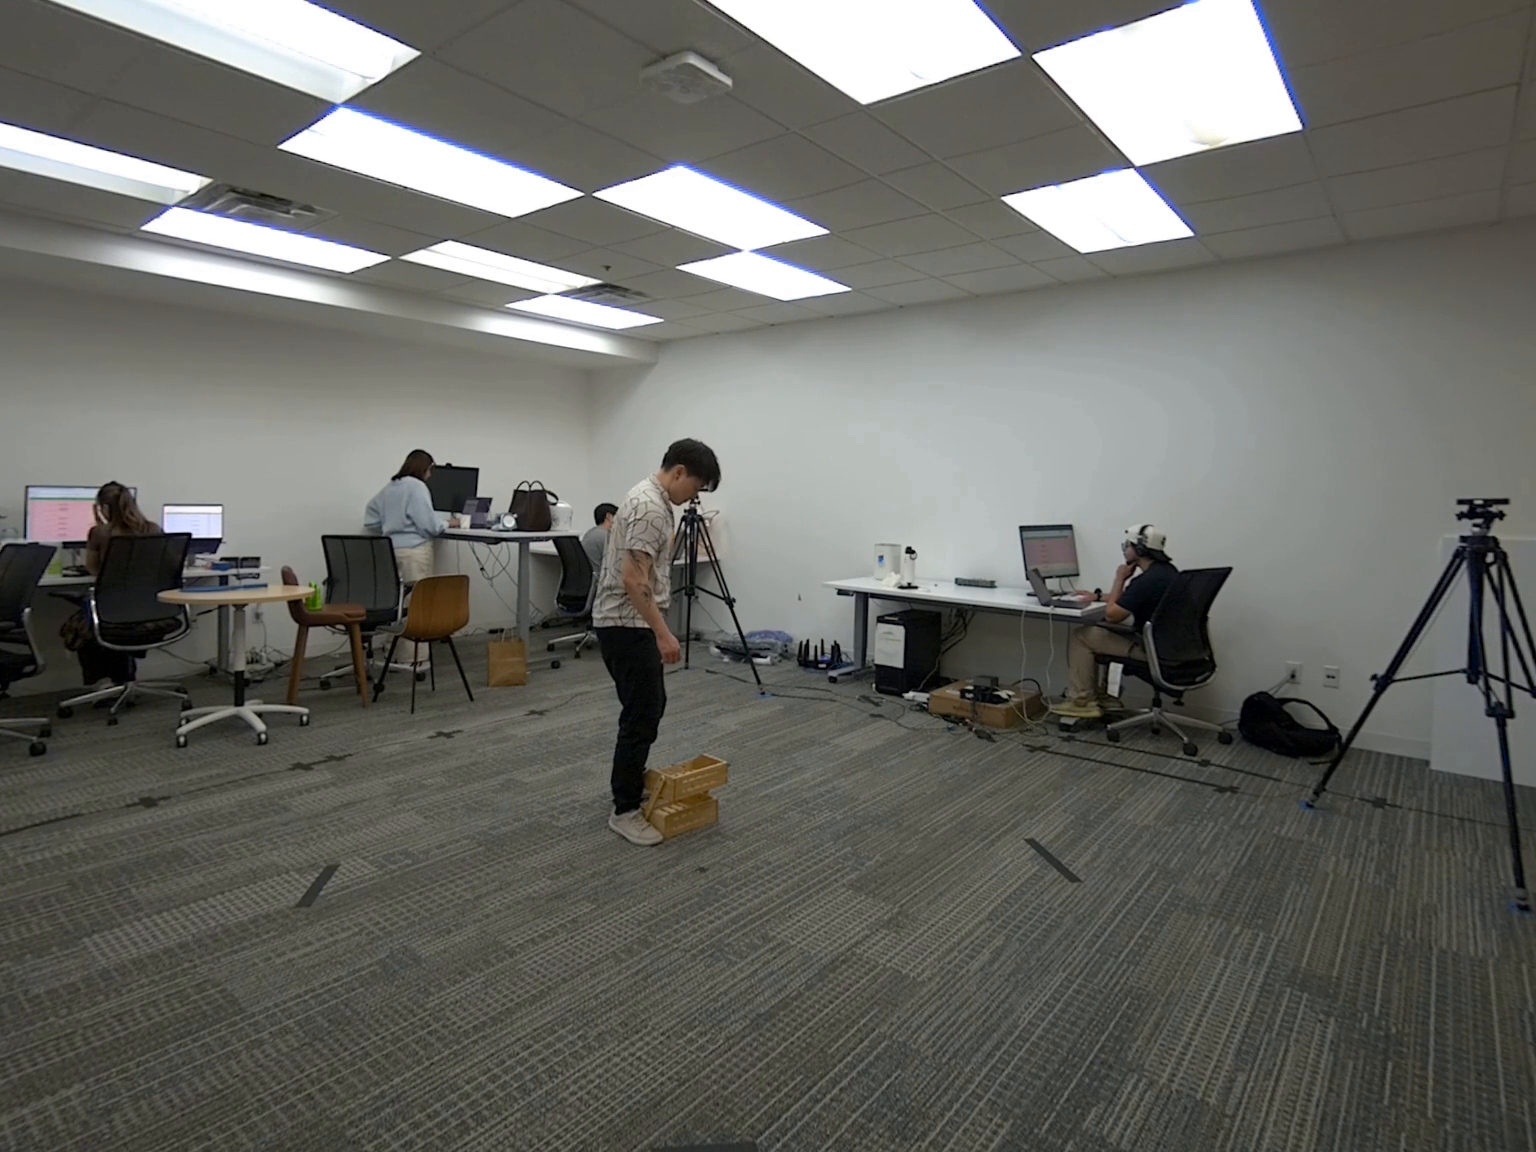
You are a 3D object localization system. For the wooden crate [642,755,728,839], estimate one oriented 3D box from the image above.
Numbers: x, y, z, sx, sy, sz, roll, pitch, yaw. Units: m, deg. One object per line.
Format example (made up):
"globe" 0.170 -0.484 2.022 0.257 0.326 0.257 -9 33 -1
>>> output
"wooden crate" -0.394 0.889 3.538 0.312 0.272 0.315 6 7 43
